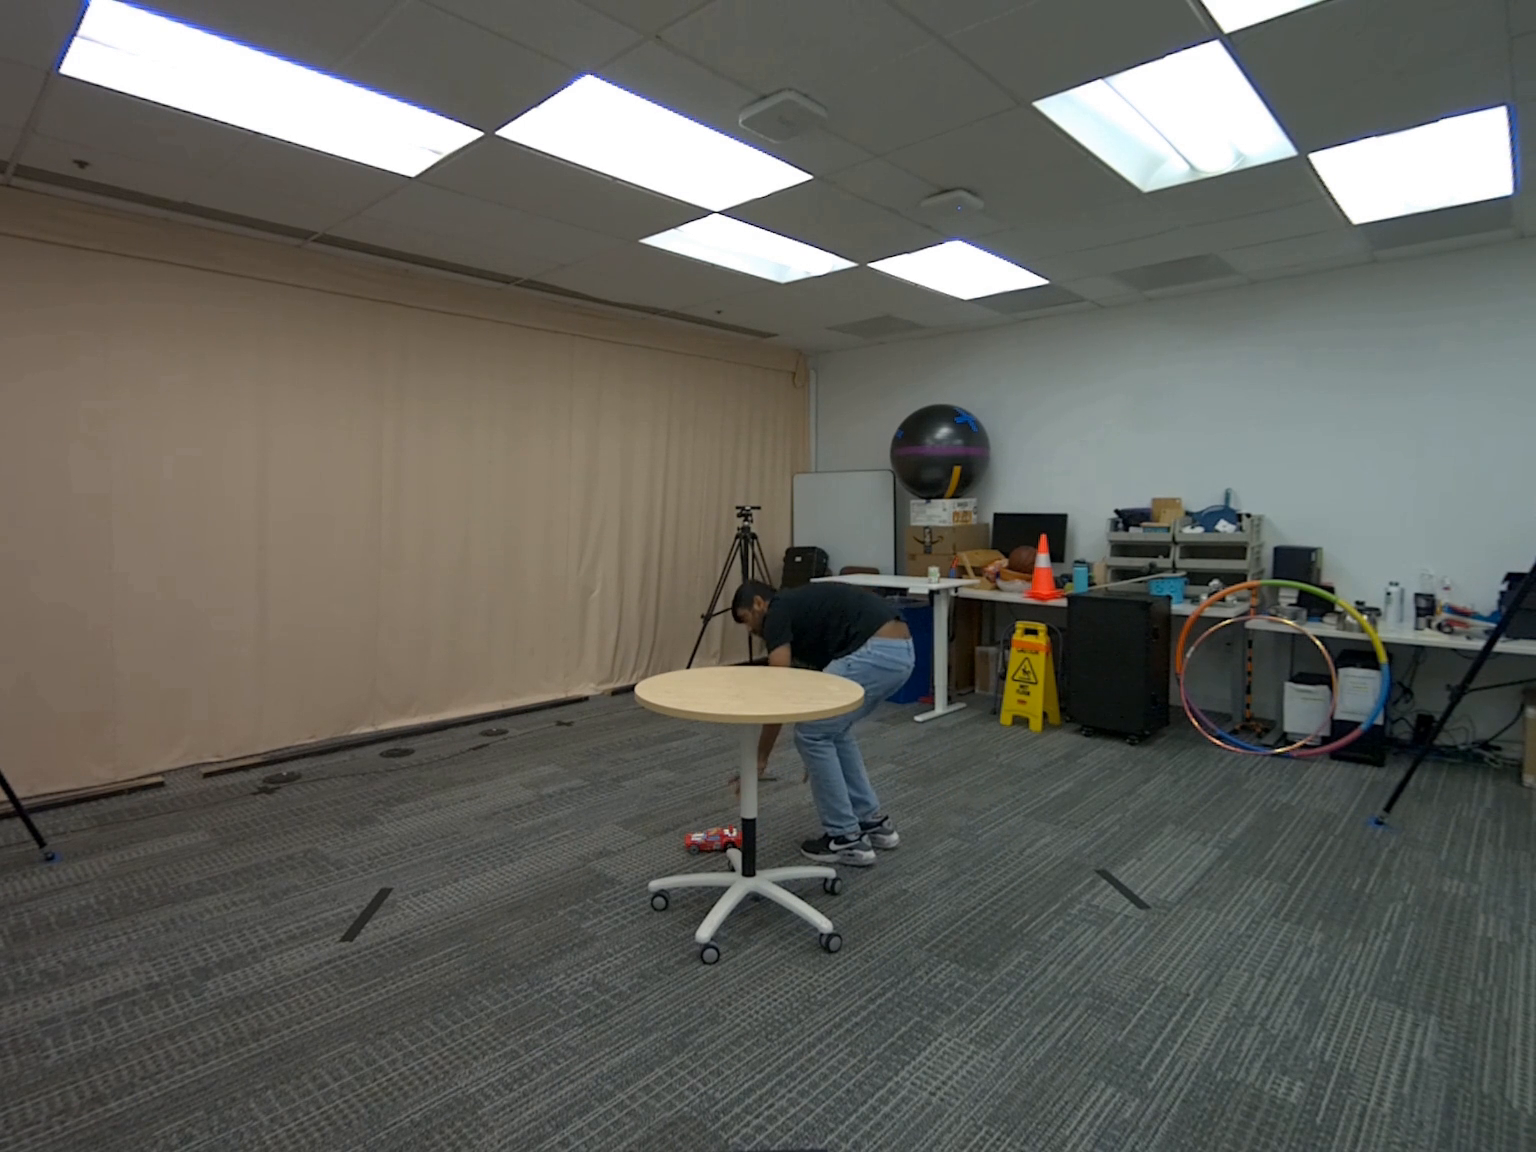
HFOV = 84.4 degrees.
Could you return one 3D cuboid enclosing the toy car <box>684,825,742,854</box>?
[{"bbox_3d":[-0.220,1.079,3.437,0.254,0.083,0.131,-11,6,-3],"label":"toy car"}]
